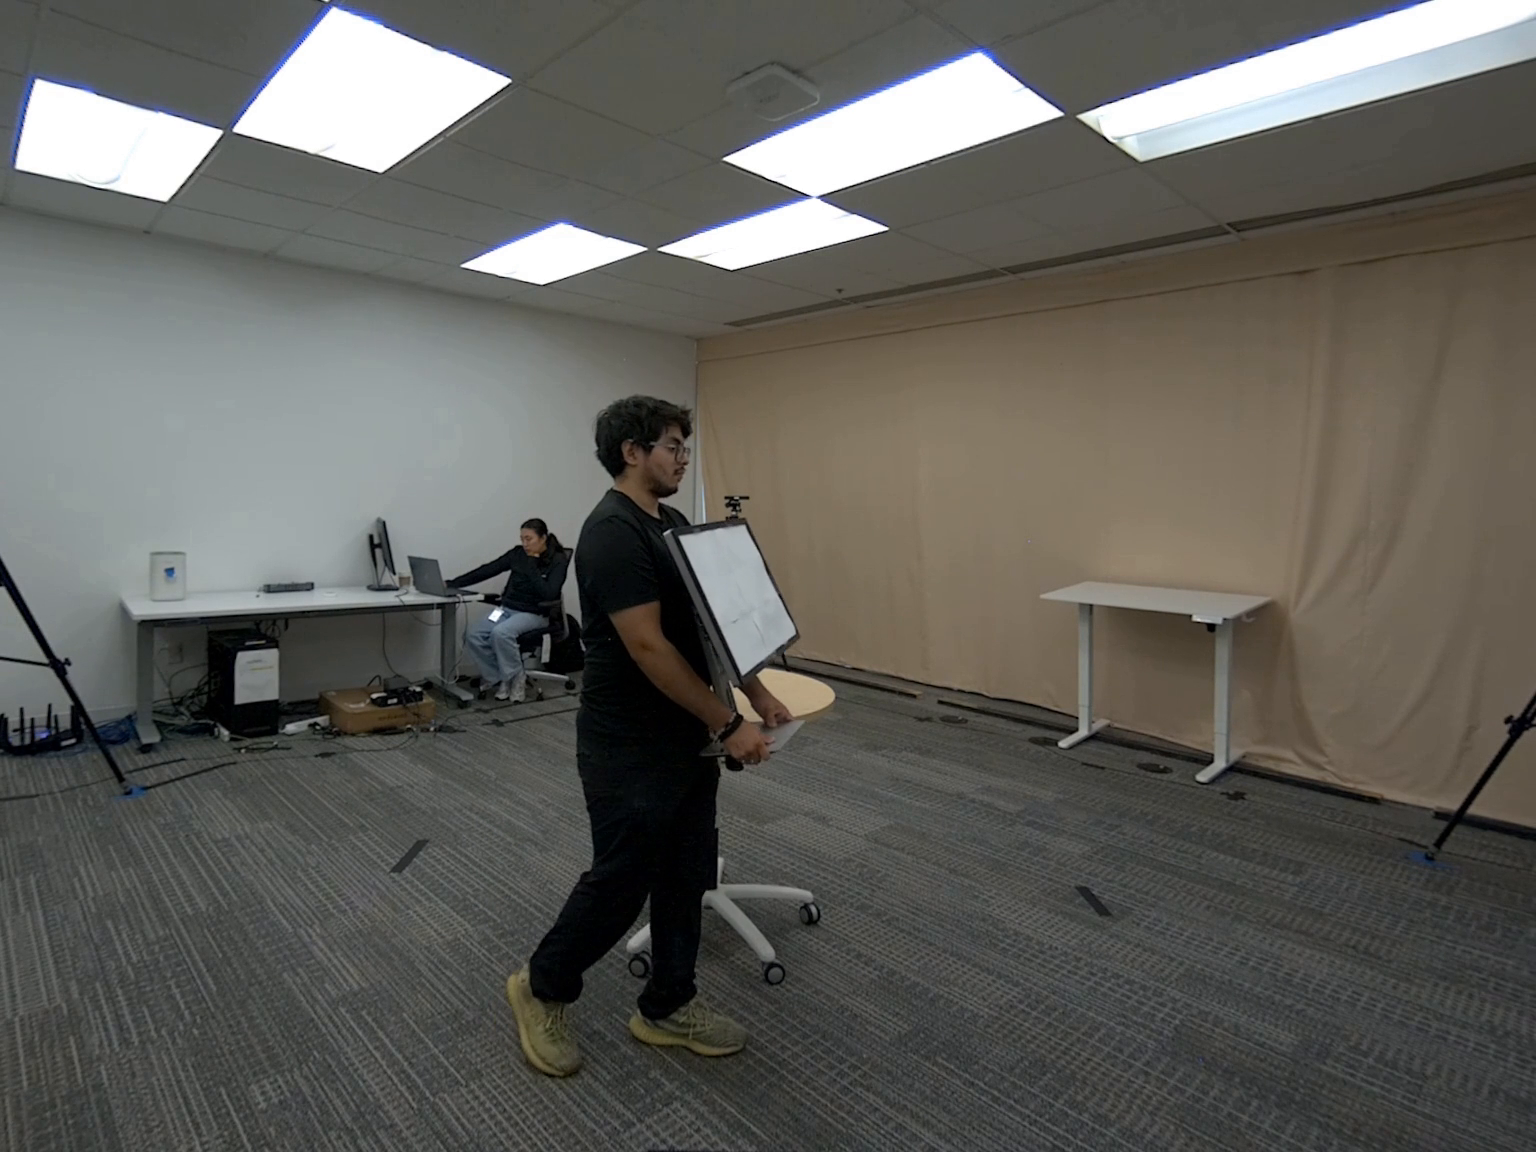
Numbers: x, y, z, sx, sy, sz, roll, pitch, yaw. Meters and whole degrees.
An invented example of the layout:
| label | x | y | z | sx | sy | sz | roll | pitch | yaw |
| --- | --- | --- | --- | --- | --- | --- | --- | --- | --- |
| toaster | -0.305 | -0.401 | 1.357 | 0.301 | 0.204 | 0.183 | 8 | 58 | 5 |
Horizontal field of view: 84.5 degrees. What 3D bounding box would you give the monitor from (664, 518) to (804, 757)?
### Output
| label | x | y | z | sx | sy | sz | roll | pitch | yaw |
| --- | --- | --- | --- | --- | --- | --- | --- | --- | --- |
| monitor | -0.110 | 0.145 | 2.061 | 0.212 | 0.555 | 0.560 | -19 | 0 | 17 |
